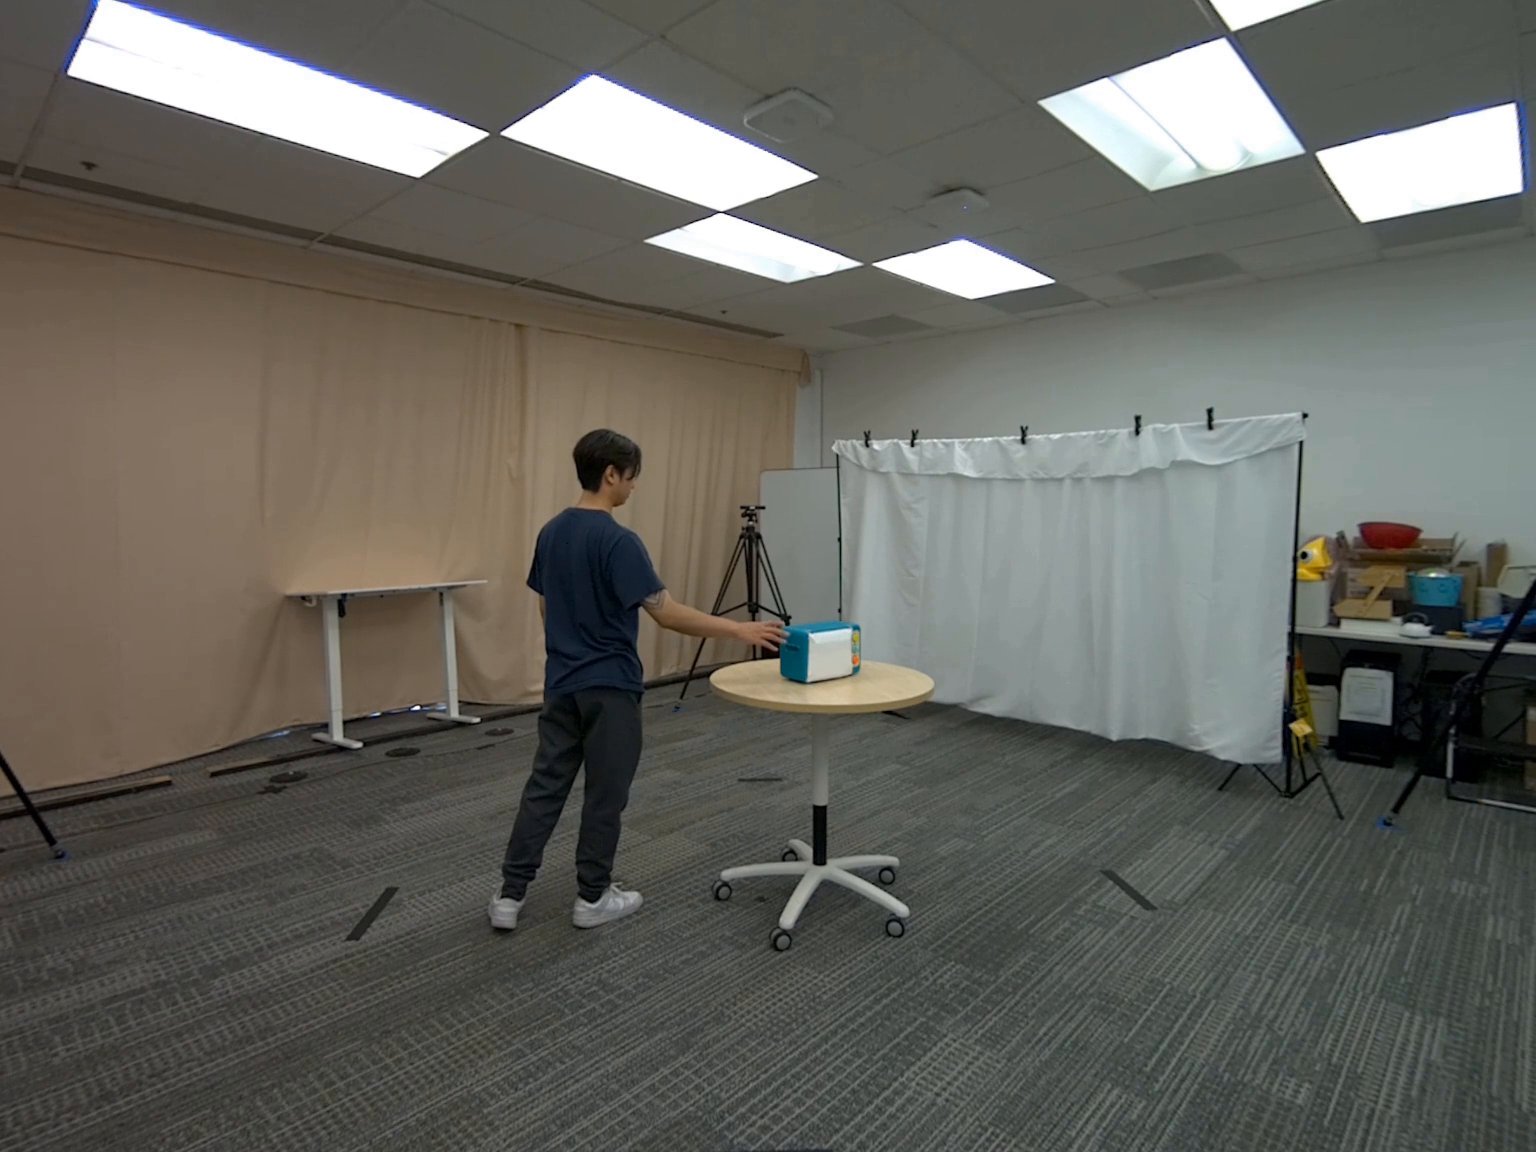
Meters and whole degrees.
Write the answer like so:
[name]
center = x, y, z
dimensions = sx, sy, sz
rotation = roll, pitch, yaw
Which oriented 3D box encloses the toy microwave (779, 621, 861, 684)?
[toy microwave]
center = 0.195, 0.261, 2.919
dimensions = 0.278, 0.183, 0.157
rotation = -3, 5, -38
